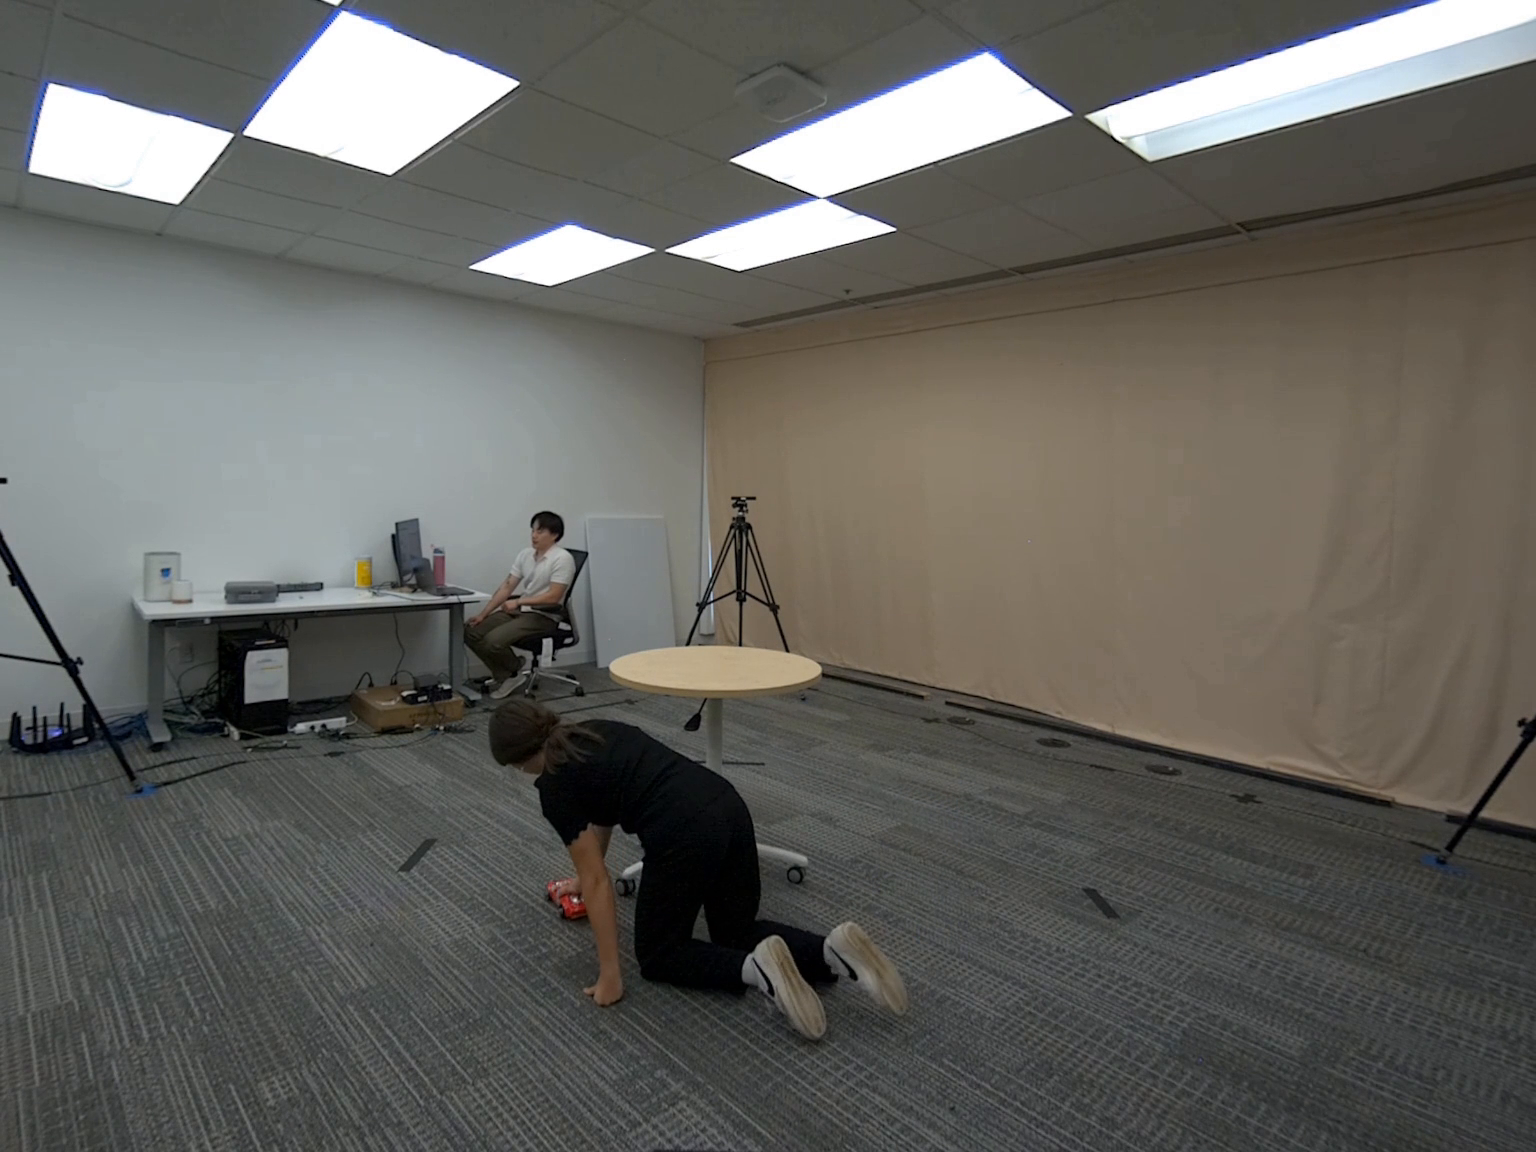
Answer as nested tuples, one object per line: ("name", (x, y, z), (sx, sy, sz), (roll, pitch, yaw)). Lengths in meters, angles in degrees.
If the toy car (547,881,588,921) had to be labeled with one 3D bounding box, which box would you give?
("toy car", (-0.669, 1.092, 2.824), (0.127, 0.083, 0.259), (-3, -3, -32))
